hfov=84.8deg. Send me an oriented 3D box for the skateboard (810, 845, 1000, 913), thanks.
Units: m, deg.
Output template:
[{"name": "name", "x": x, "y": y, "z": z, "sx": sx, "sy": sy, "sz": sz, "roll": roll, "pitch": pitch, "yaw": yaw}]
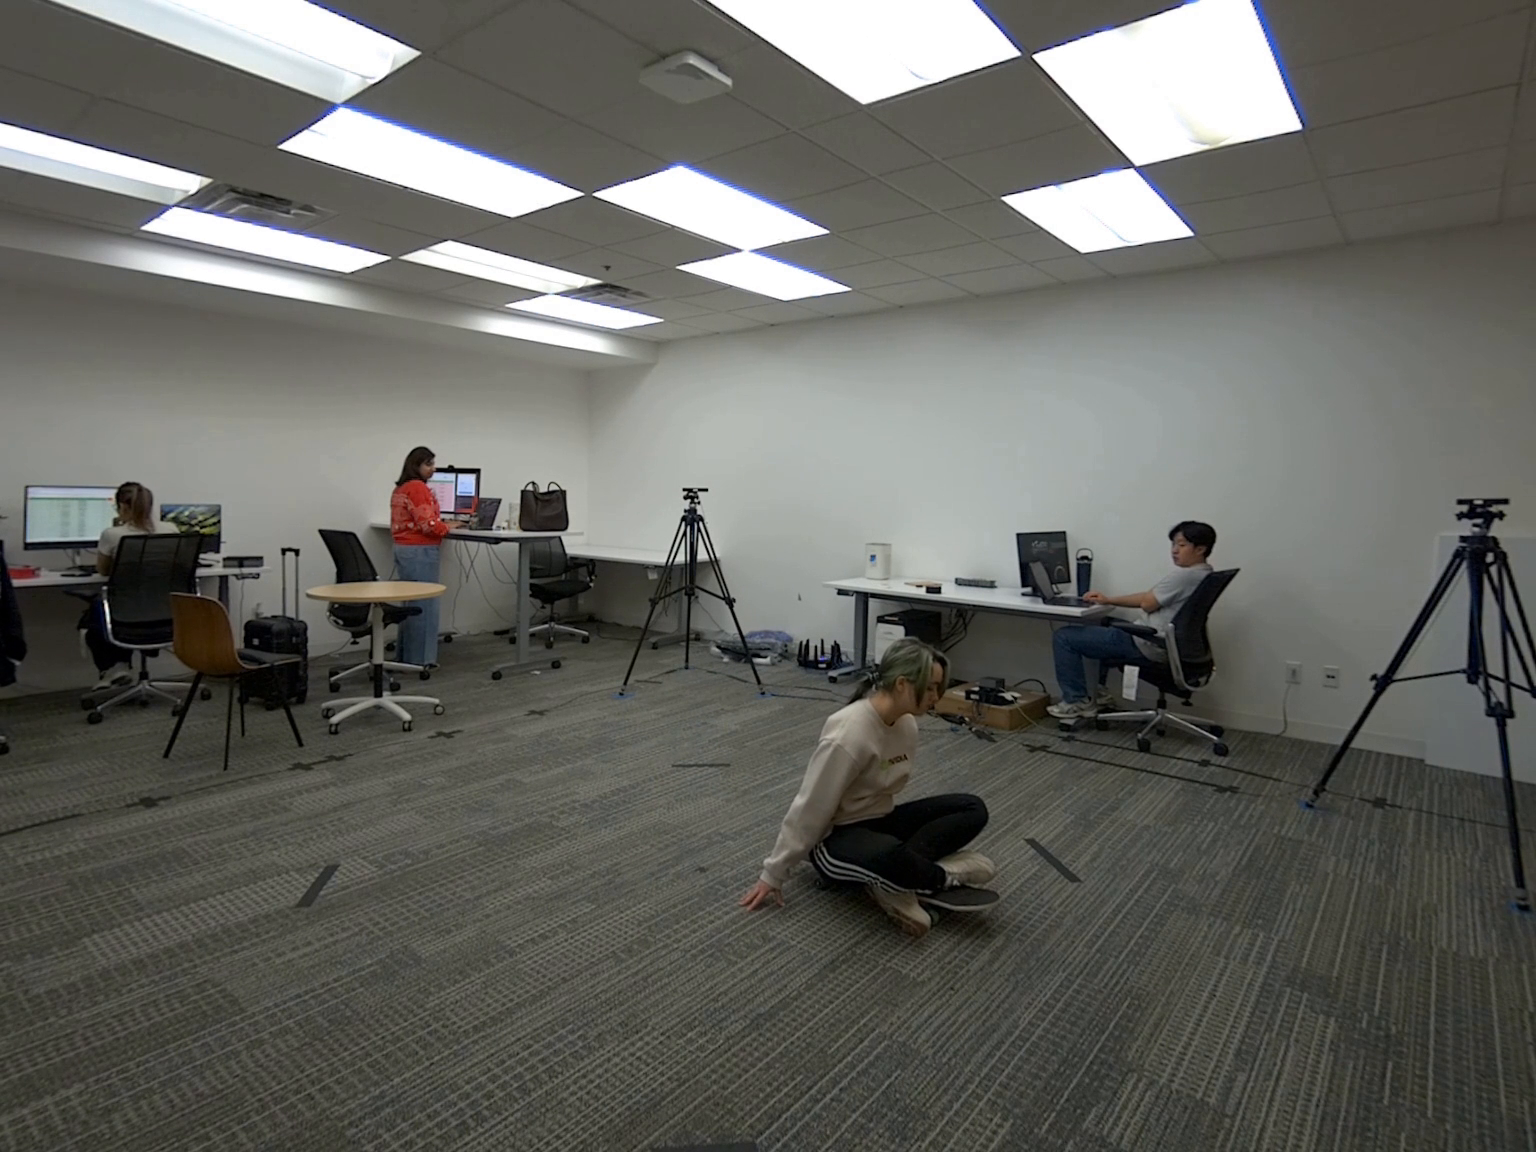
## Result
[{"name": "skateboard", "x": 0.405, "y": 1.051, "z": 2.916, "sx": 0.810, "sy": 0.110, "sz": 0.187, "roll": 3, "pitch": 3, "yaw": 36}]
